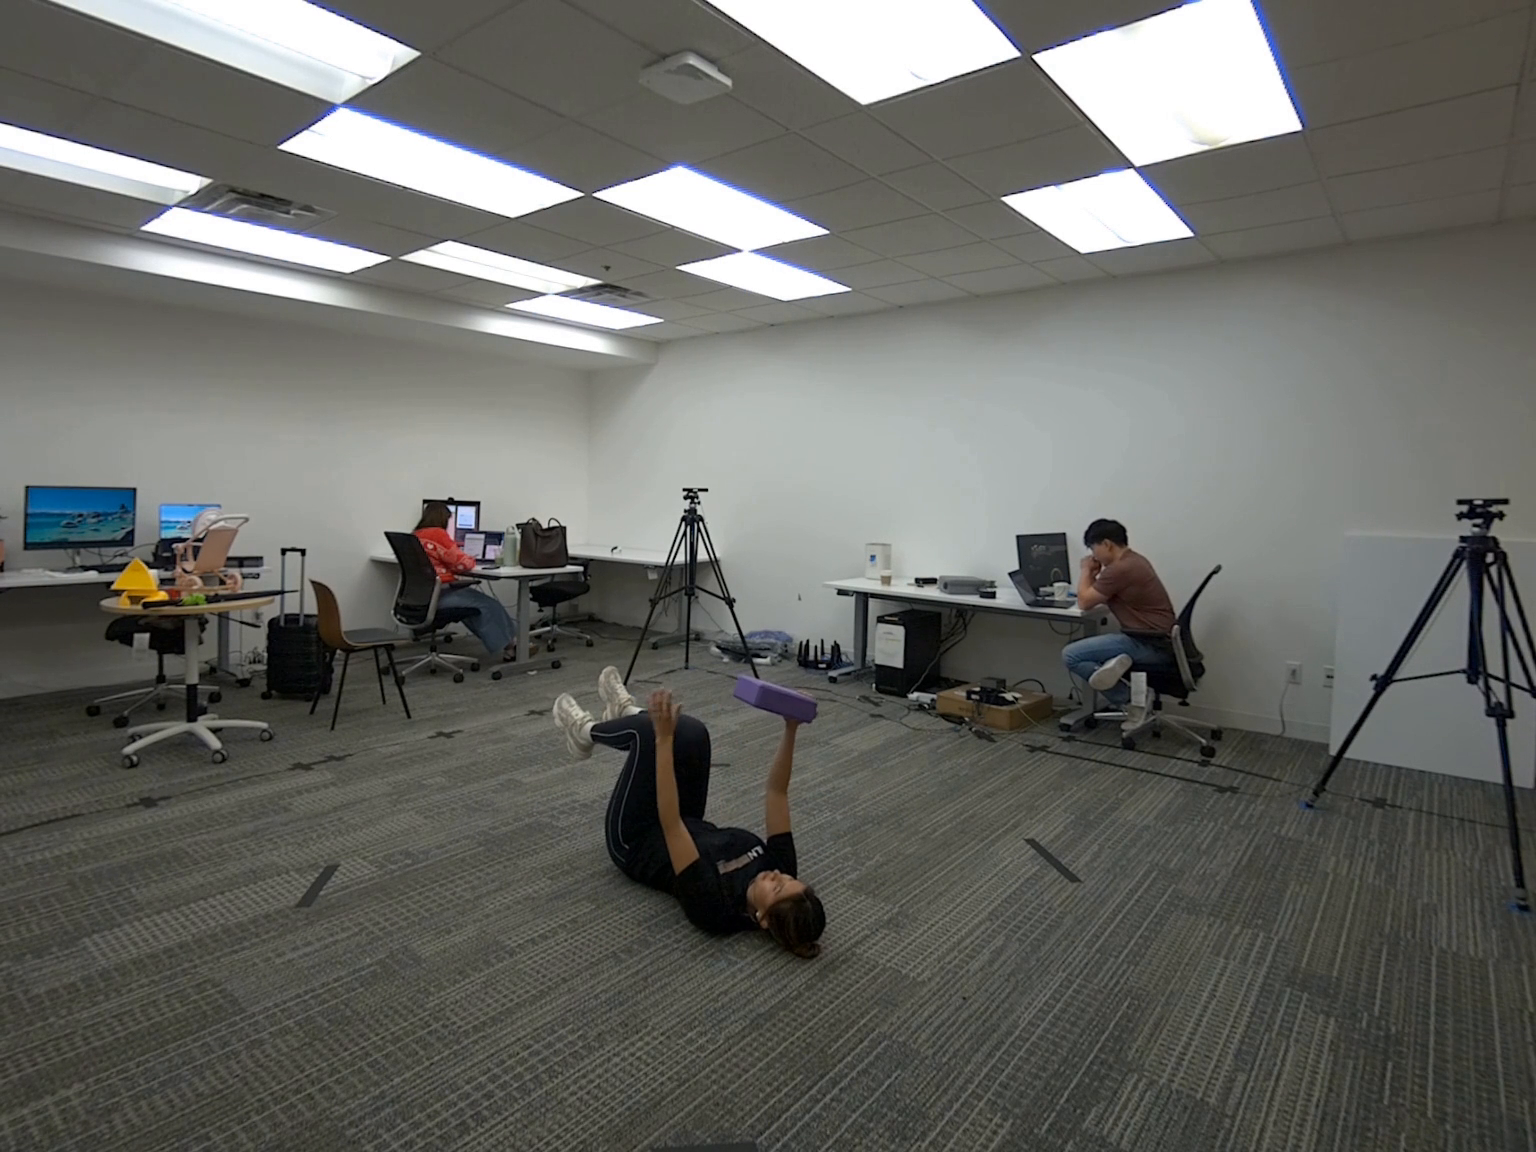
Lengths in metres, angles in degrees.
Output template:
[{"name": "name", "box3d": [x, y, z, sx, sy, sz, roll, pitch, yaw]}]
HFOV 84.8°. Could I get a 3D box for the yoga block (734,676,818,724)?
[{"name": "yoga block", "box3d": [0.021, 0.388, 2.681, 0.221, 0.077, 0.153, 23, -7, -30]}]
